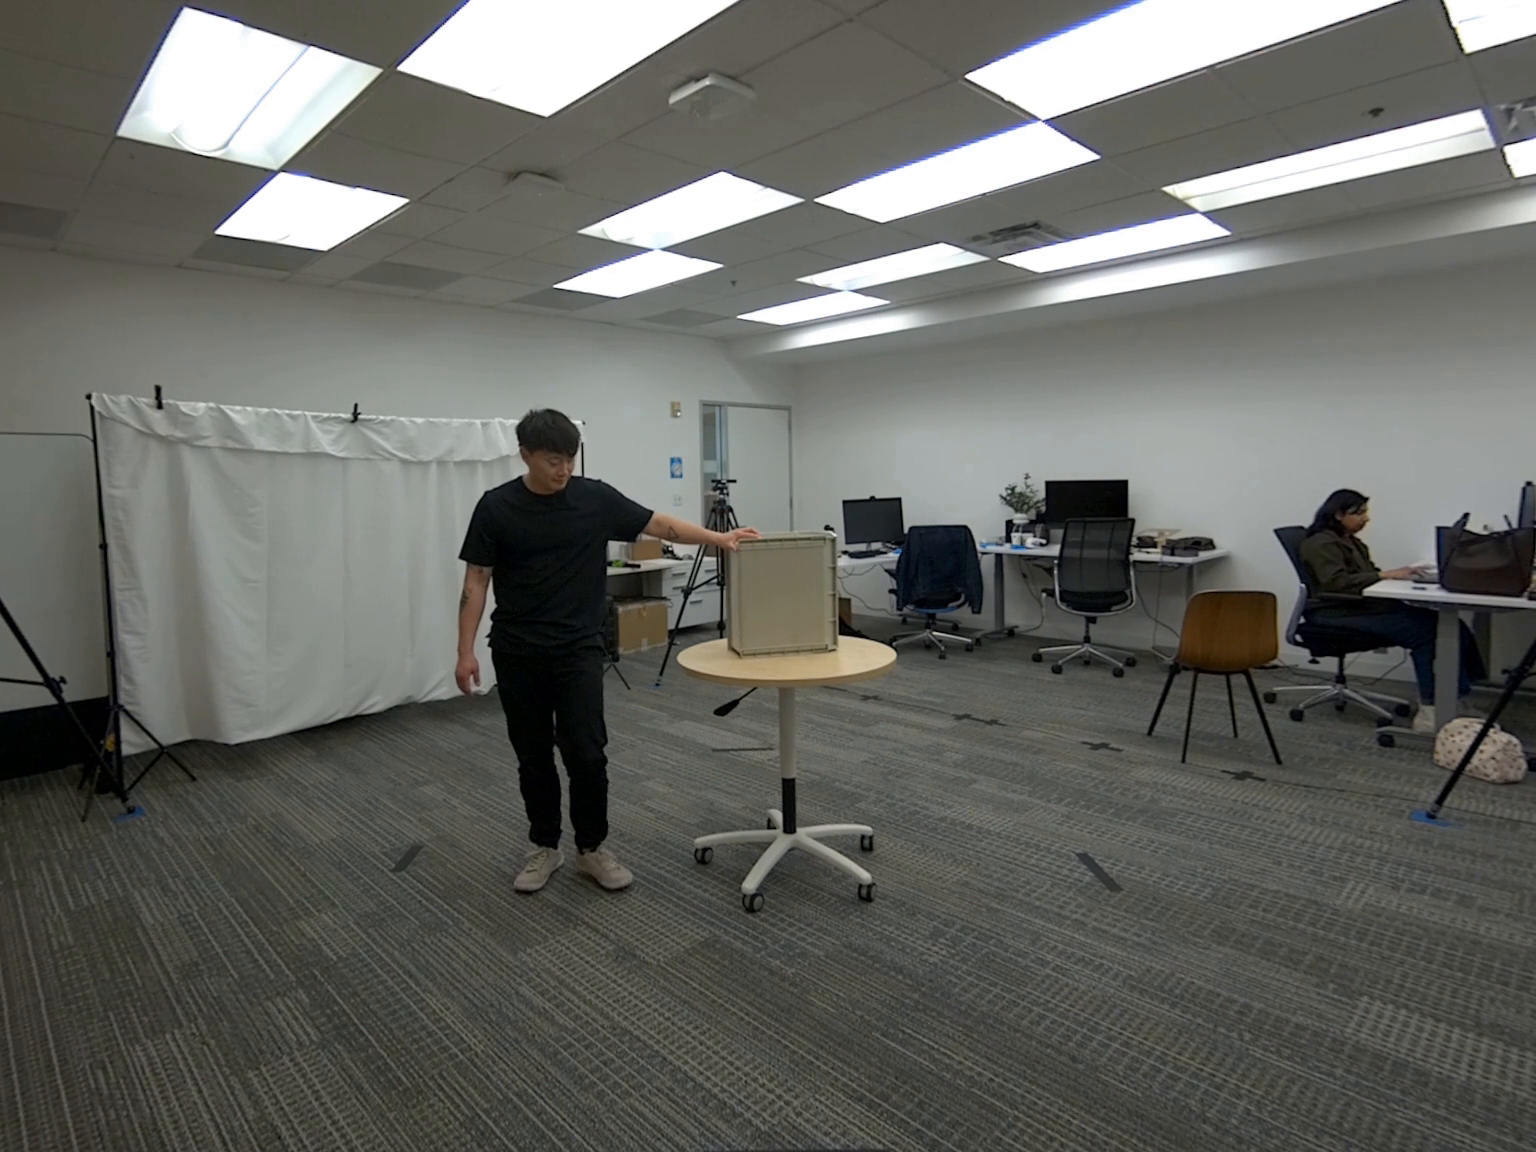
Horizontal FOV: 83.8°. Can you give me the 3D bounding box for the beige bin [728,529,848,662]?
[{"bbox_3d":[0.064,0.059,3.035,0.372,0.420,0.192,-2,7,-14],"label":"beige bin"}]
